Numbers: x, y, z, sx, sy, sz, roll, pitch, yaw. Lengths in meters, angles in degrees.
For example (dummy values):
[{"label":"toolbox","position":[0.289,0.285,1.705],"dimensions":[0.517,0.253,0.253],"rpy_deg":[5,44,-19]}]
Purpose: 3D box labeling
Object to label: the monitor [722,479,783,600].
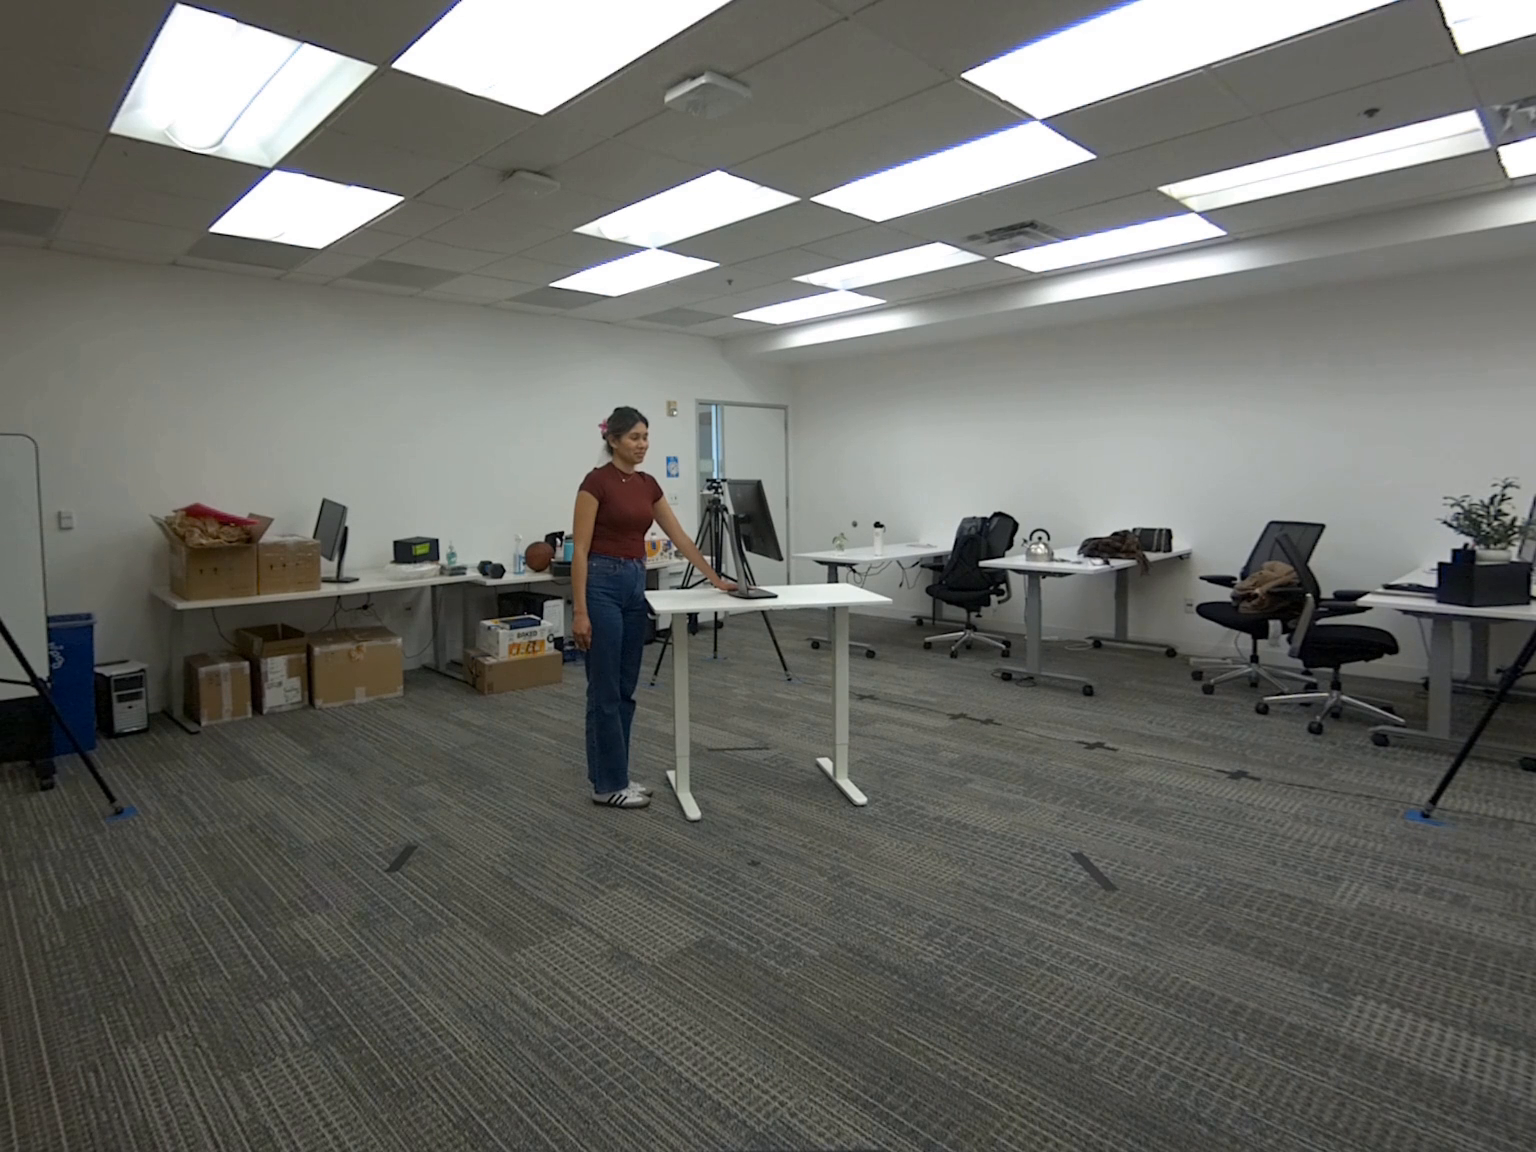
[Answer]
[{"label":"monitor","position":[-0.098,-0.169,3.784],"dimensions":[0.184,0.520,0.550],"rpy_deg":[-4,7,-18]}]
